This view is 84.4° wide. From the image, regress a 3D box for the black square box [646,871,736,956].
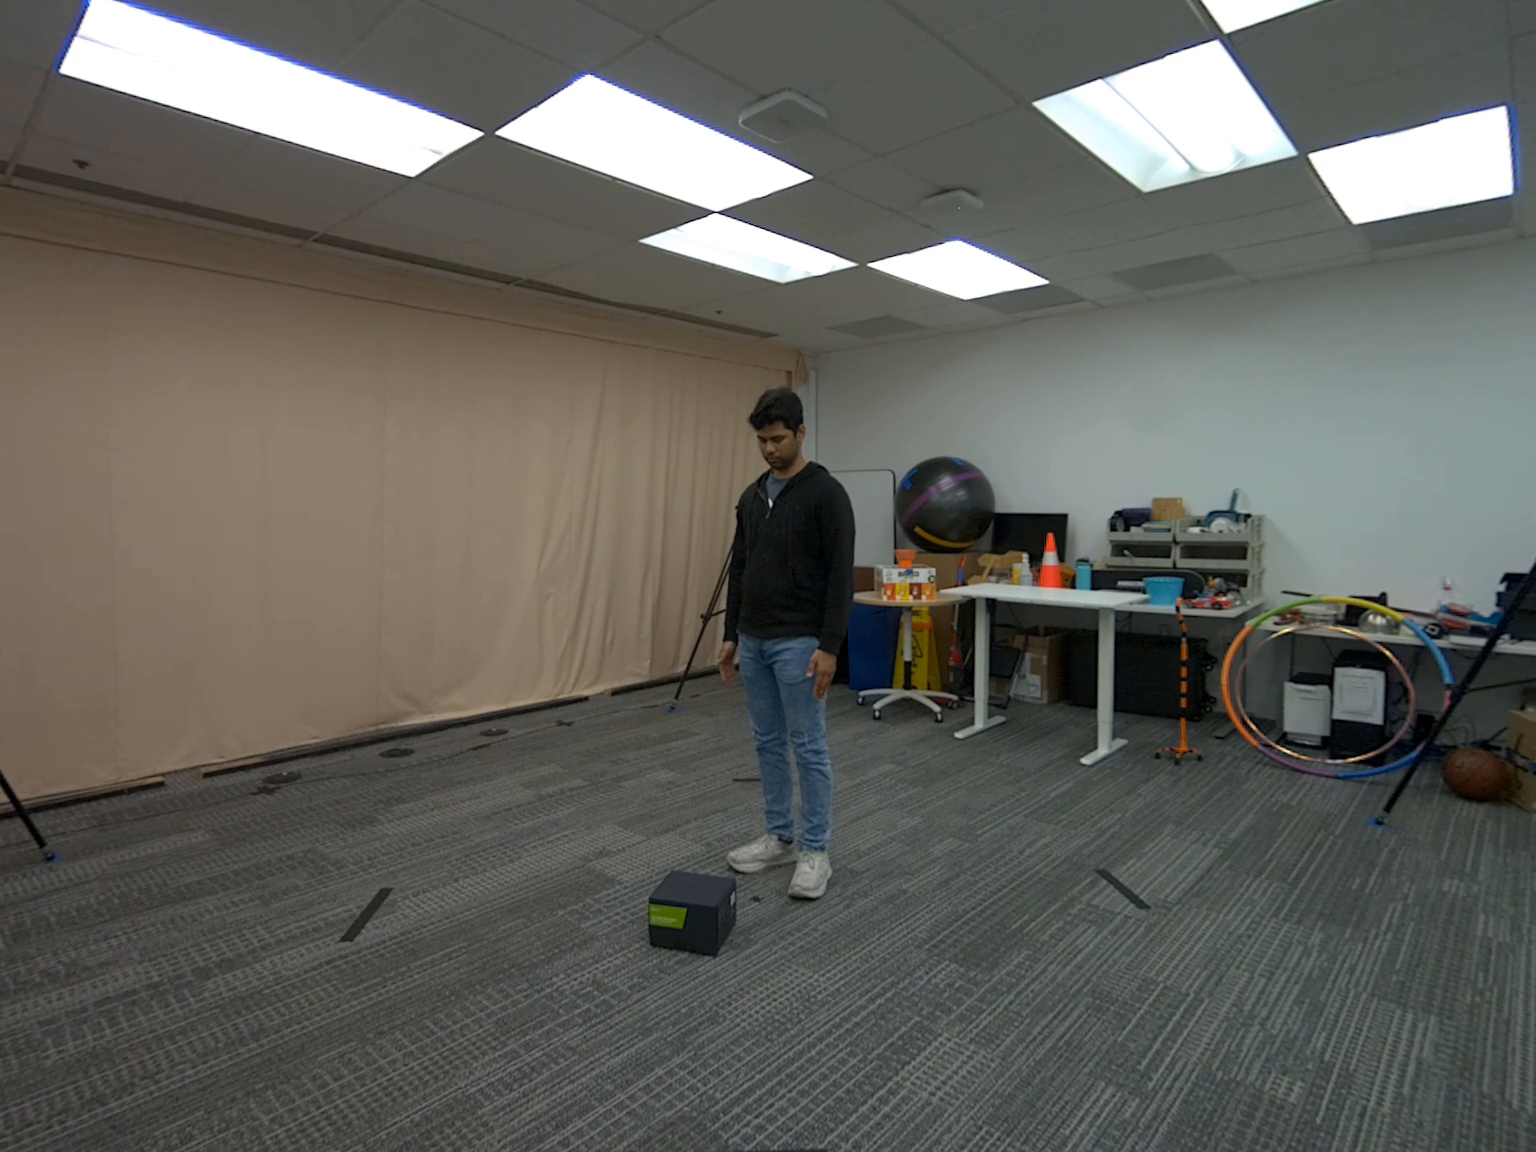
[{"bbox_3d":[-0.240,1.081,2.725,0.232,0.155,0.213,1,4,16],"label":"black square box"}]
